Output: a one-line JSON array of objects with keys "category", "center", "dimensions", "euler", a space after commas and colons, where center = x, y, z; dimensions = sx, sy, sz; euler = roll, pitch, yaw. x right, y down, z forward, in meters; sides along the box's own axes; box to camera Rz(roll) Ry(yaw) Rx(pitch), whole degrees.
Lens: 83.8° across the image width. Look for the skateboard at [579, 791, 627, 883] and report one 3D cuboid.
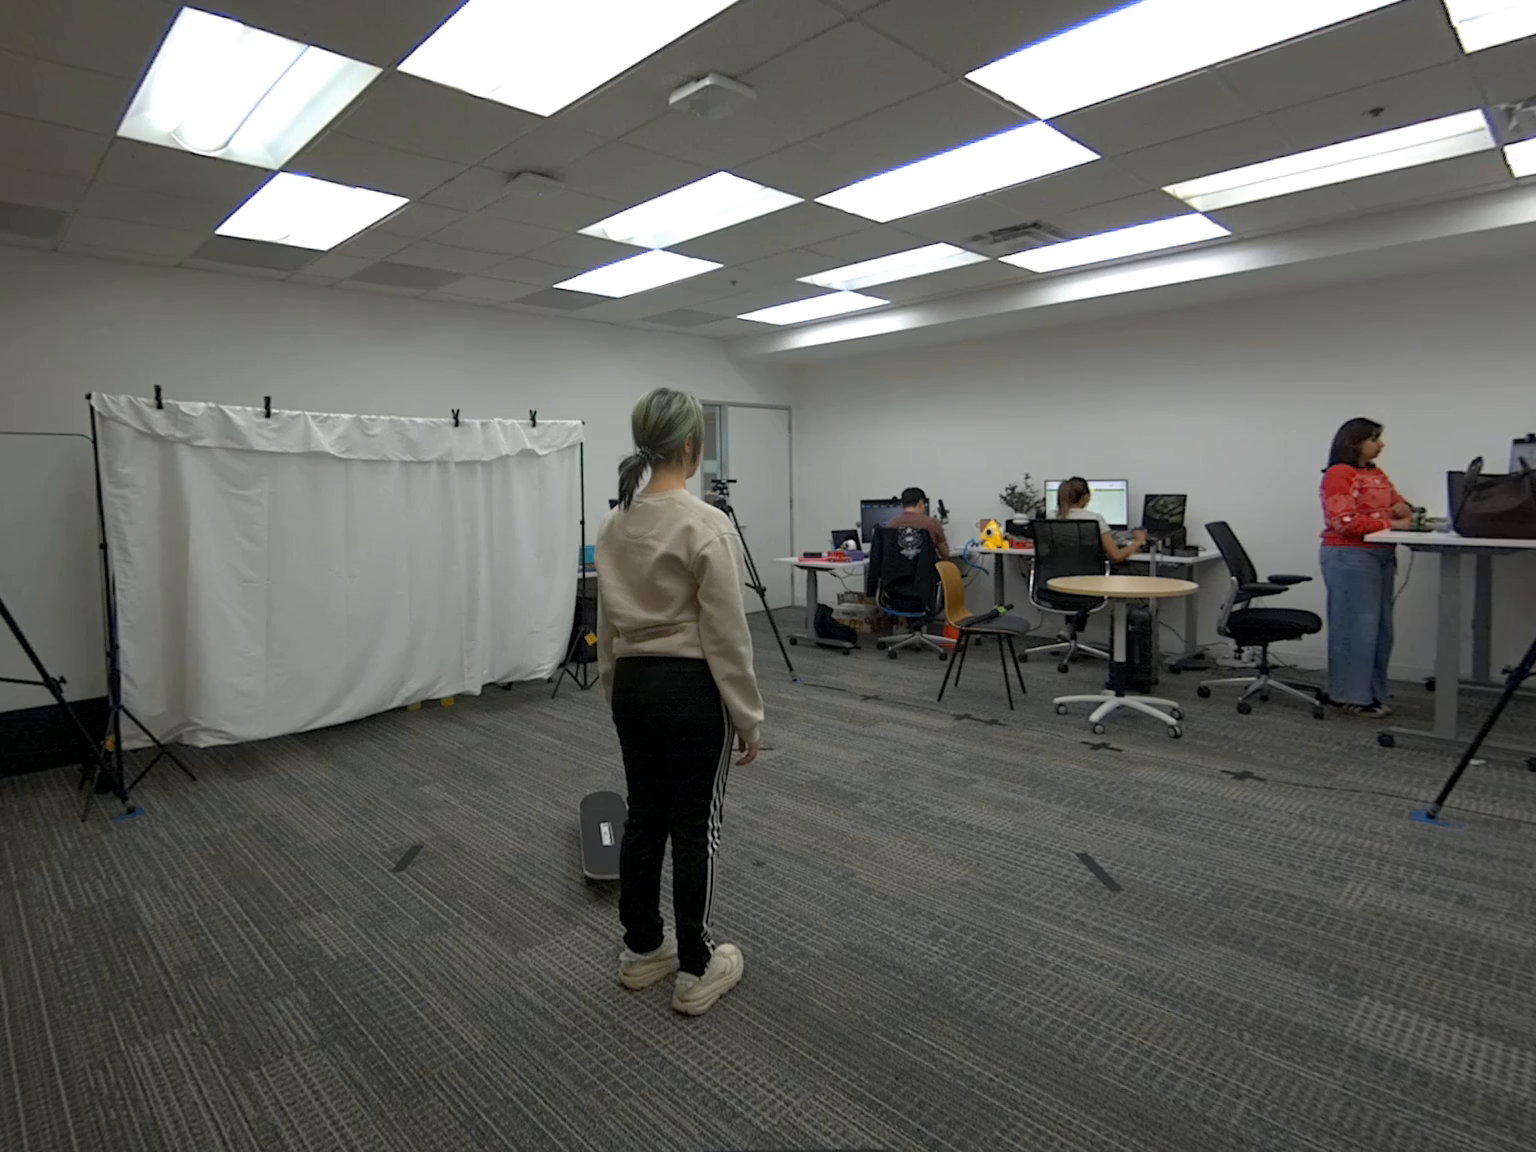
[{"category": "skateboard", "center": [-0.602, 0.993, 3.187], "dimensions": [0.191, 0.110, 0.798], "euler": [-2, 6, -13]}]
